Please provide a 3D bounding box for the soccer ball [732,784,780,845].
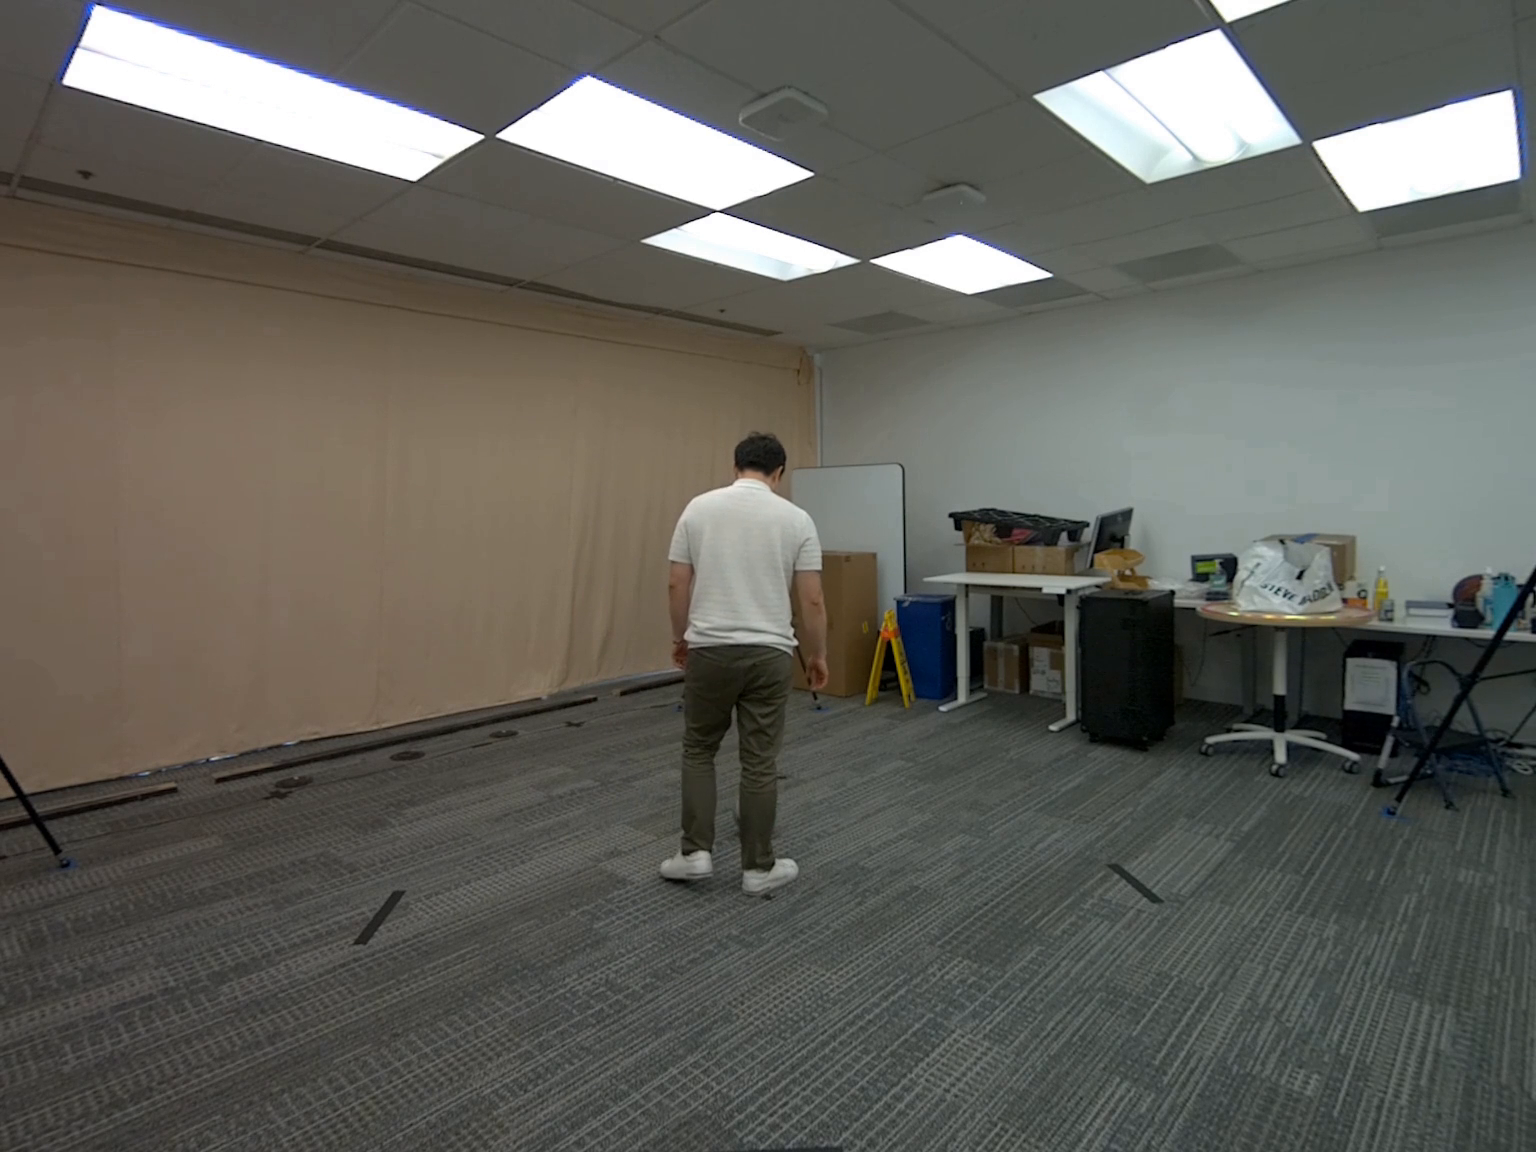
[{"bbox_3d":[-0.054,0.996,3.562,0.187,0.187,0.188,-1,4,-2],"label":"soccer ball"}]
